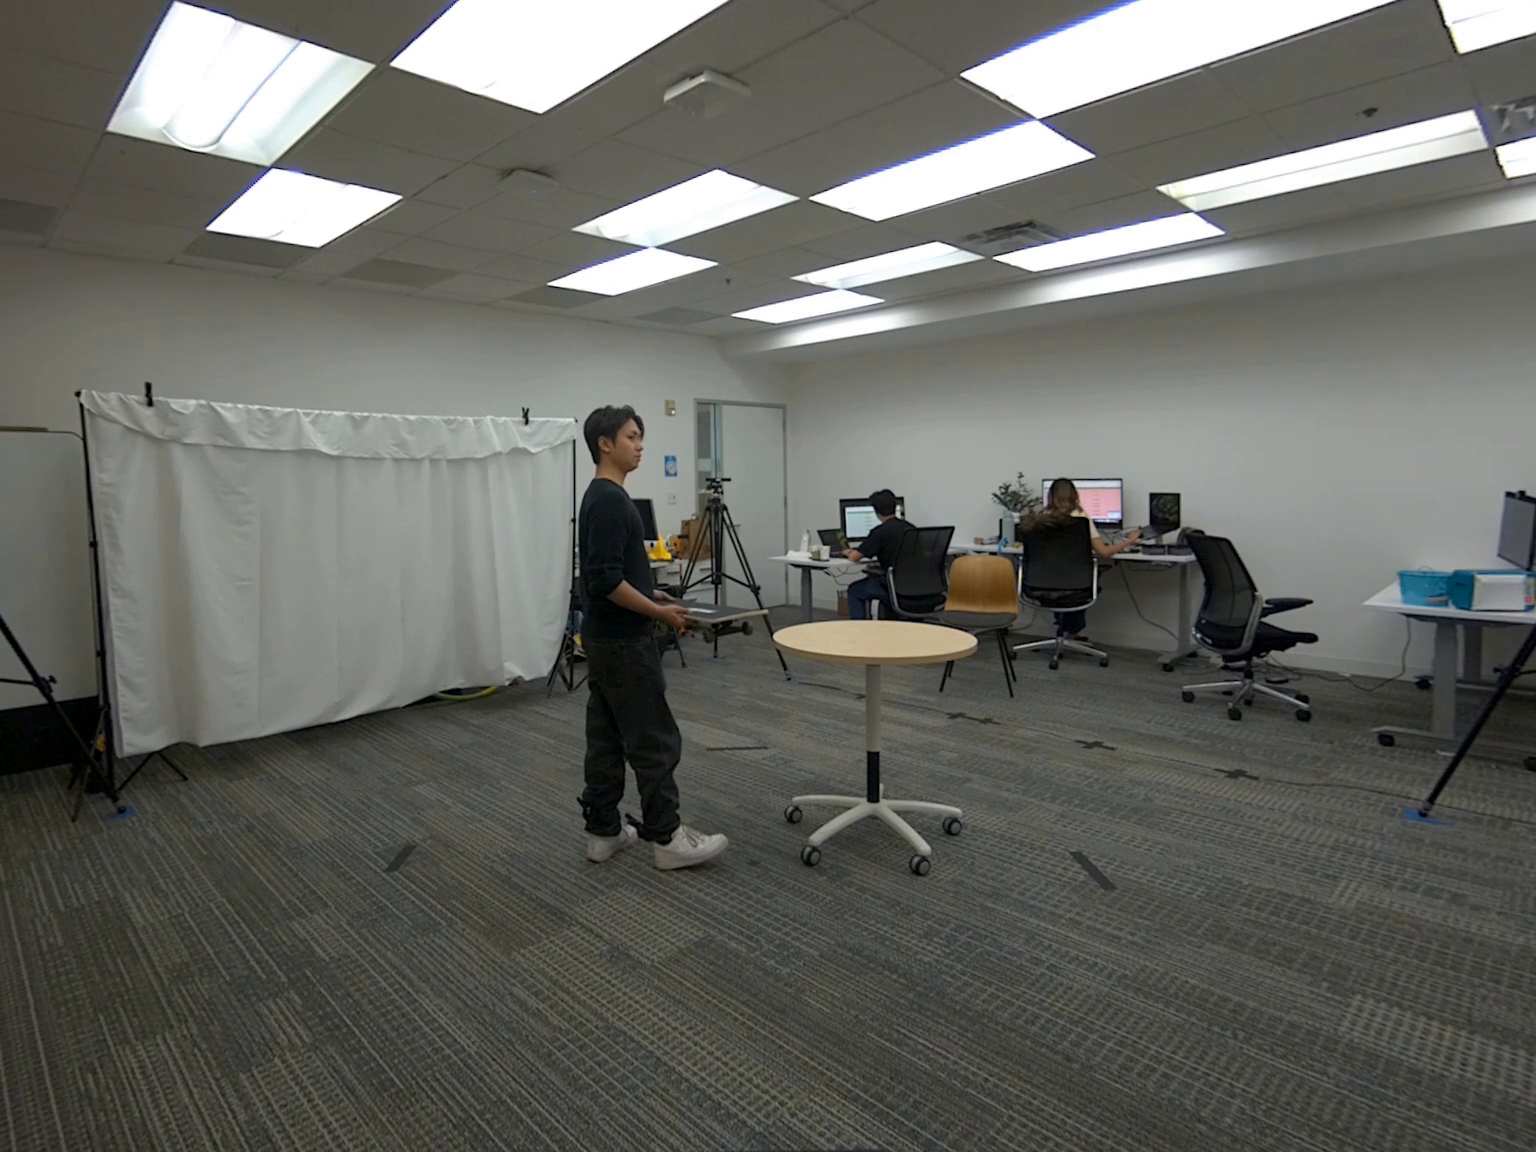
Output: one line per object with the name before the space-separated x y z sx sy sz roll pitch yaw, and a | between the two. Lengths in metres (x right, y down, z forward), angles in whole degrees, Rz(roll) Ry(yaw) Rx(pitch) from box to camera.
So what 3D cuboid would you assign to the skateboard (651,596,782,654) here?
skateboard | -0.245 0.163 3.119 0.189 0.110 0.805 -9 6 -29
